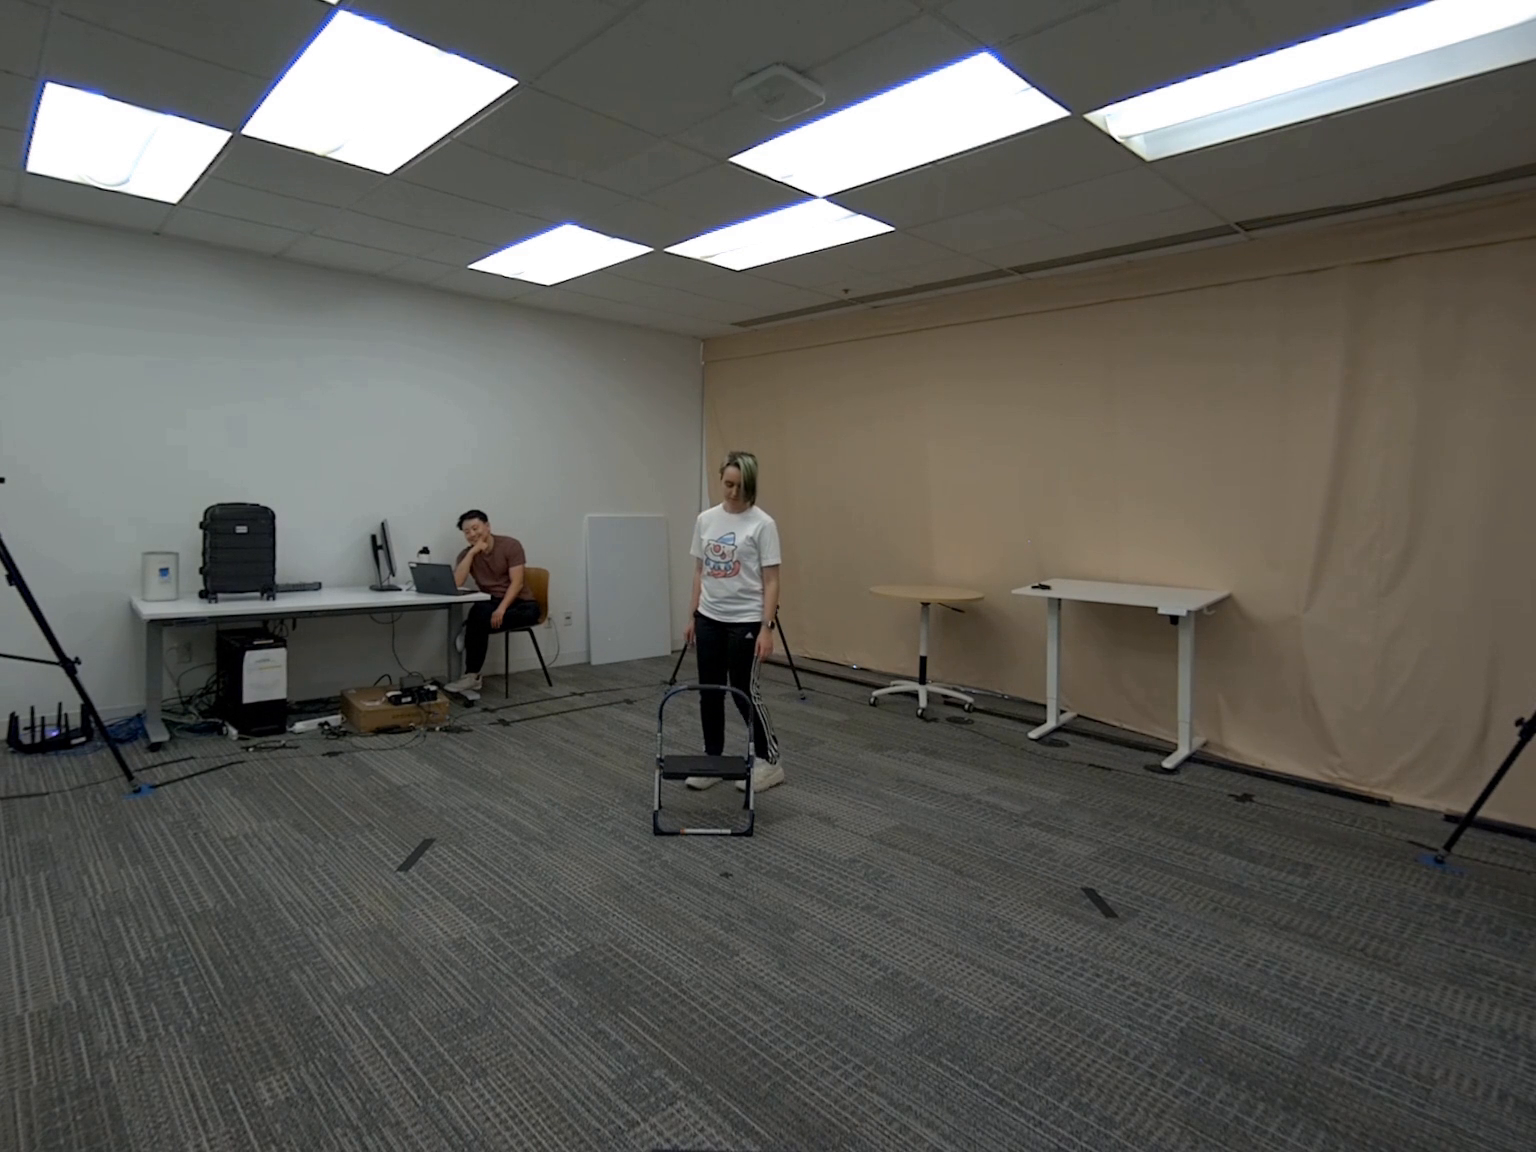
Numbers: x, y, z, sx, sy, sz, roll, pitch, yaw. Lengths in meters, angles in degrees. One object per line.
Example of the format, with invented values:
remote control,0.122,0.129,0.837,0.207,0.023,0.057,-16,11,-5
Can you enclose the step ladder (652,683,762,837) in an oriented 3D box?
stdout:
step ladder,-0.284,0.757,3.614,0.429,0.605,0.351,1,3,-4
